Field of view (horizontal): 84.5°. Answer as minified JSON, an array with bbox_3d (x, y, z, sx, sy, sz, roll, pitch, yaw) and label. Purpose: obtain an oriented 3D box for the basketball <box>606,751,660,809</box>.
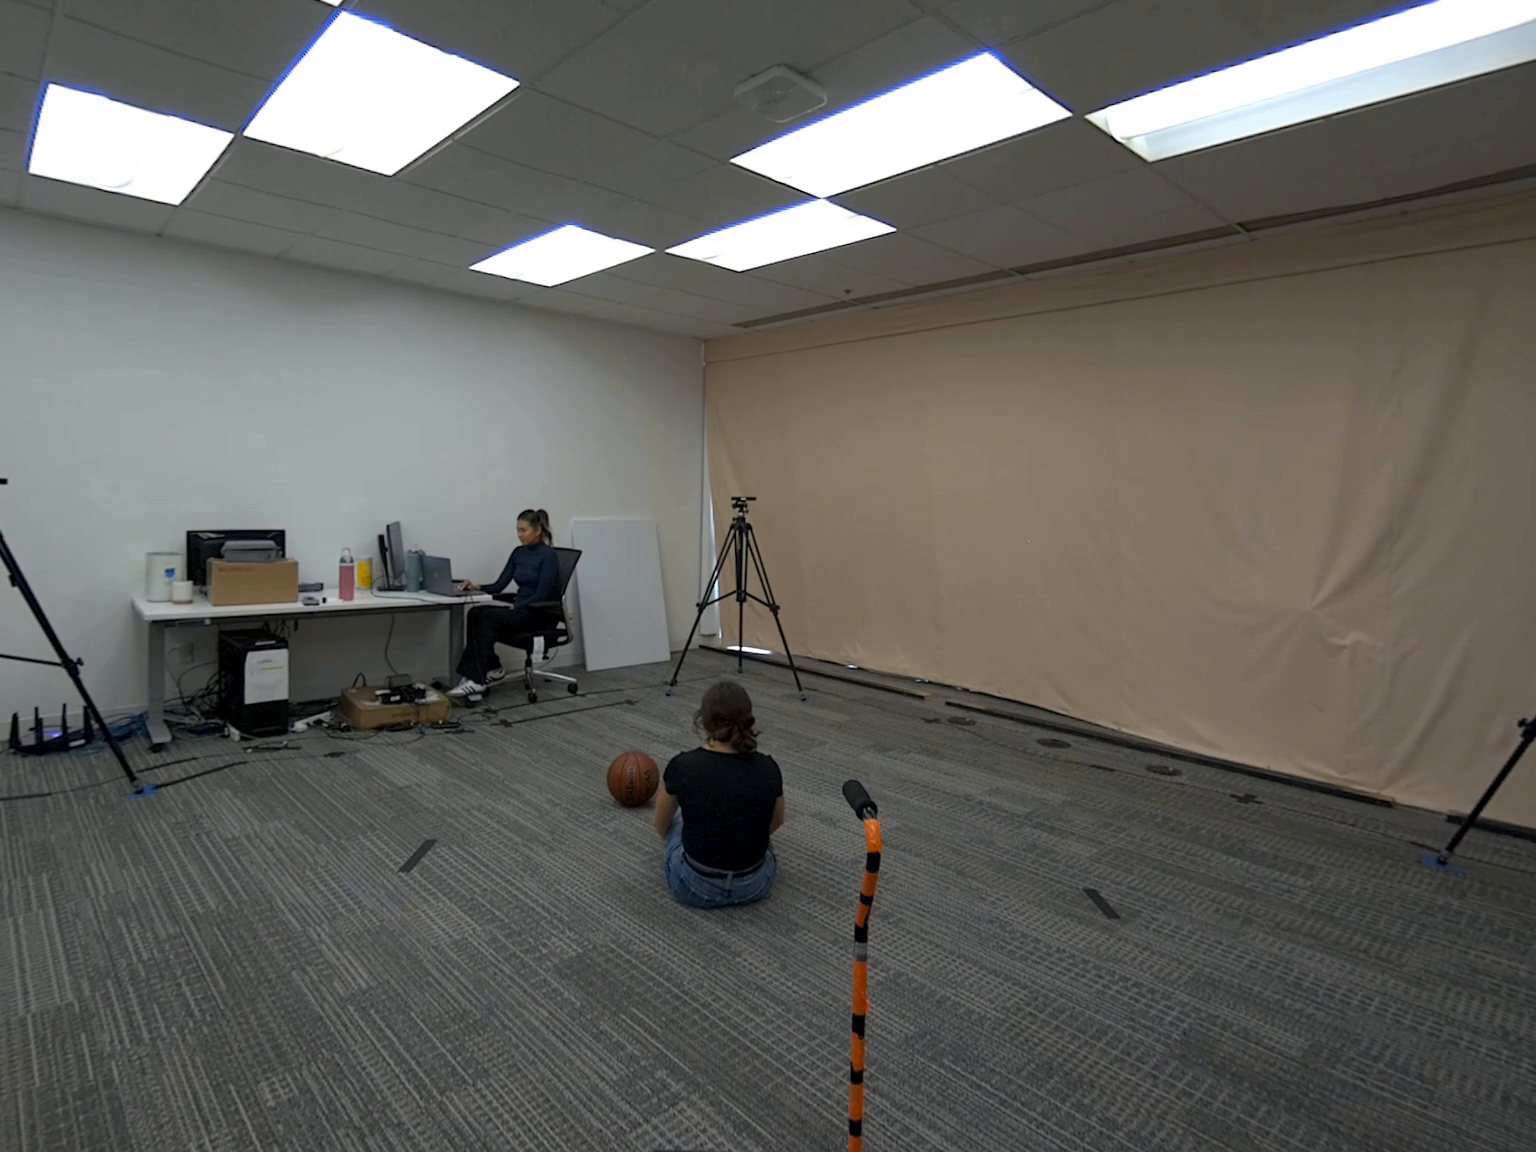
[{"bbox_3d":[-0.618,0.911,3.810,0.236,0.235,0.237,1,4,-1],"label":"basketball"}]
